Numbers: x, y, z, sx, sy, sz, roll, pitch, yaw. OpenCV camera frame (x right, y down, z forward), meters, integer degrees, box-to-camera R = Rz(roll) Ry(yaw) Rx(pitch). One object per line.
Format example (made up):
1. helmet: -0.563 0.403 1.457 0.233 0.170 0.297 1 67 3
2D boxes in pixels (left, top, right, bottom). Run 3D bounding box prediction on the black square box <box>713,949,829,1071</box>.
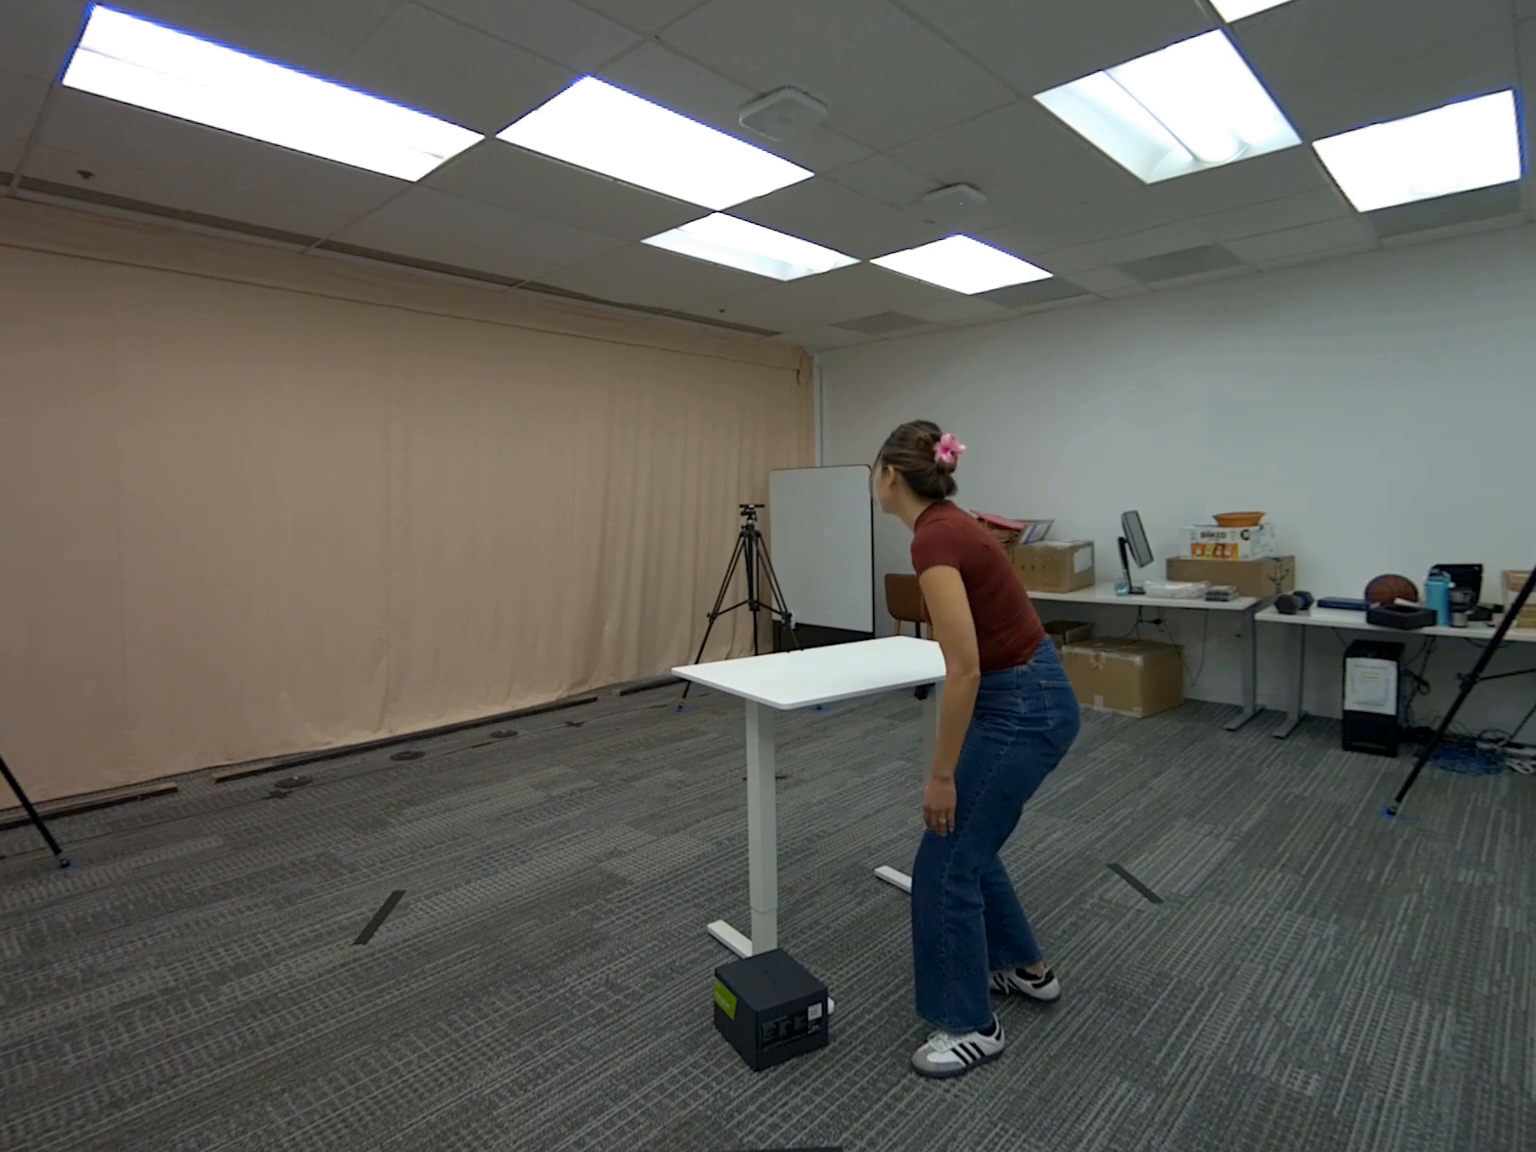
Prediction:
1. black square box: 0.005 1.125 2.205 0.211 0.155 0.234 -4 5 -30
